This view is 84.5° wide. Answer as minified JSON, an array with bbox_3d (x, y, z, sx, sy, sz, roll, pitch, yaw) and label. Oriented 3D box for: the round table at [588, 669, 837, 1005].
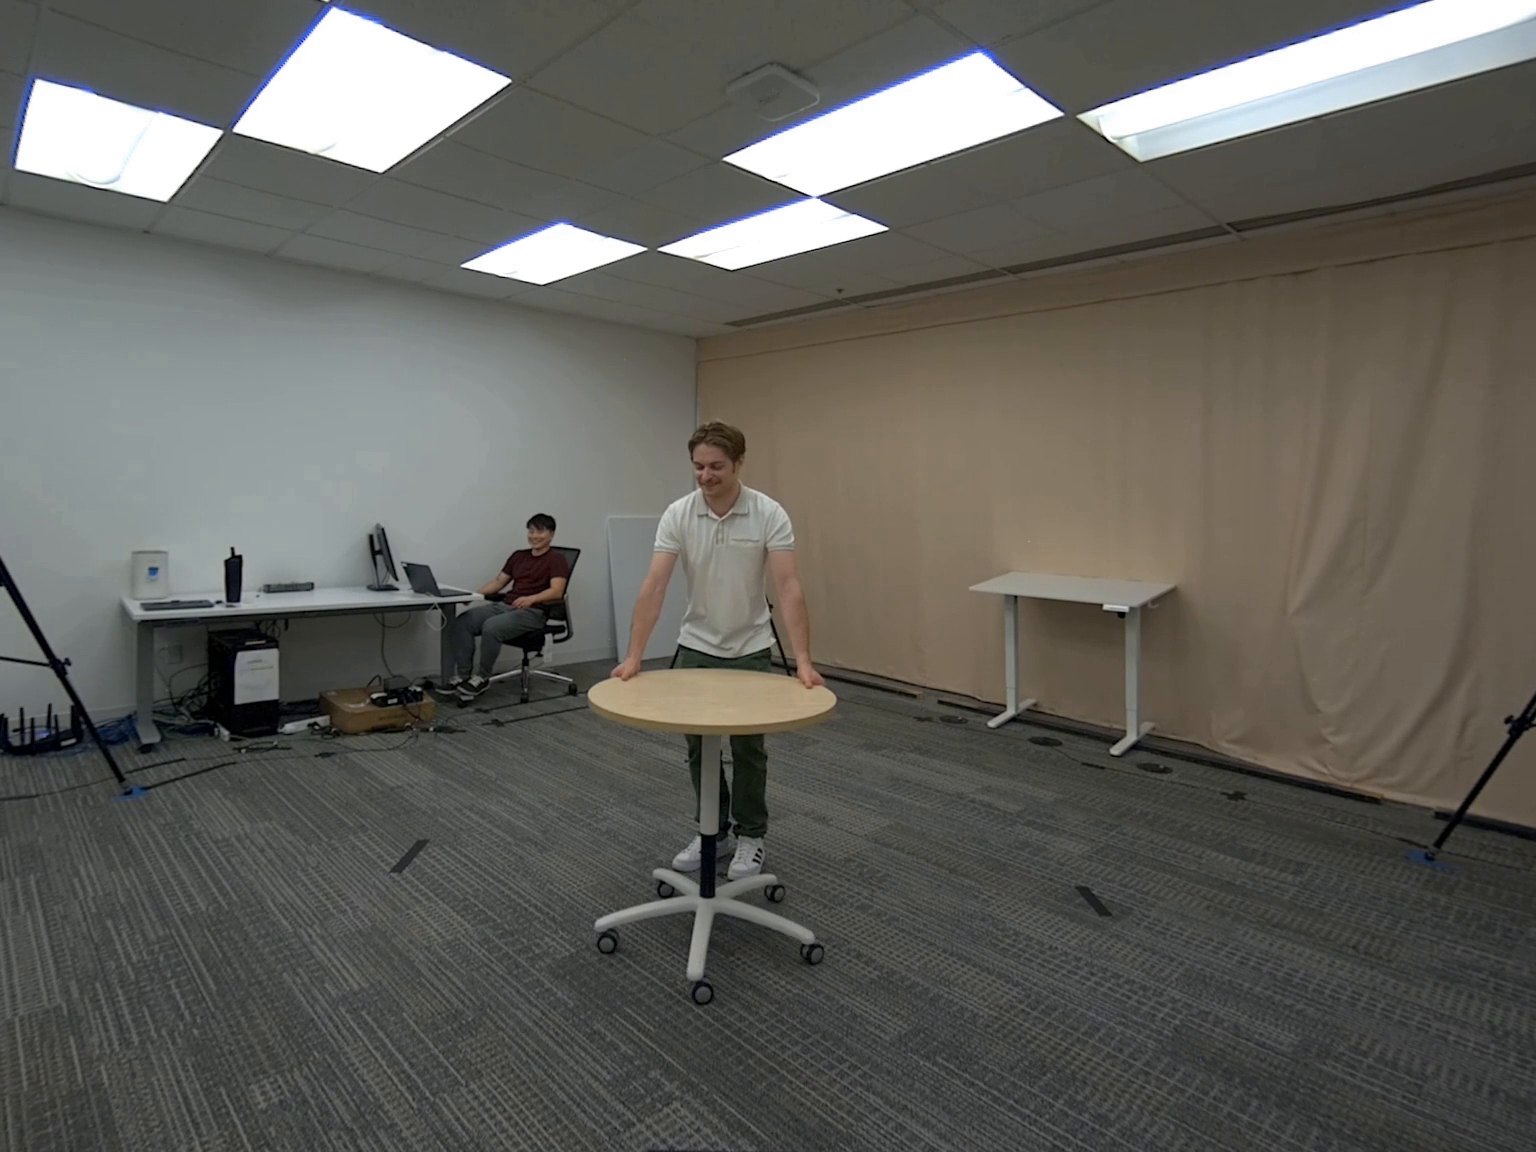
[{"bbox_3d":[-0.194,0.758,2.633,0.763,0.792,0.766,1,4,-1],"label":"round table"}]
